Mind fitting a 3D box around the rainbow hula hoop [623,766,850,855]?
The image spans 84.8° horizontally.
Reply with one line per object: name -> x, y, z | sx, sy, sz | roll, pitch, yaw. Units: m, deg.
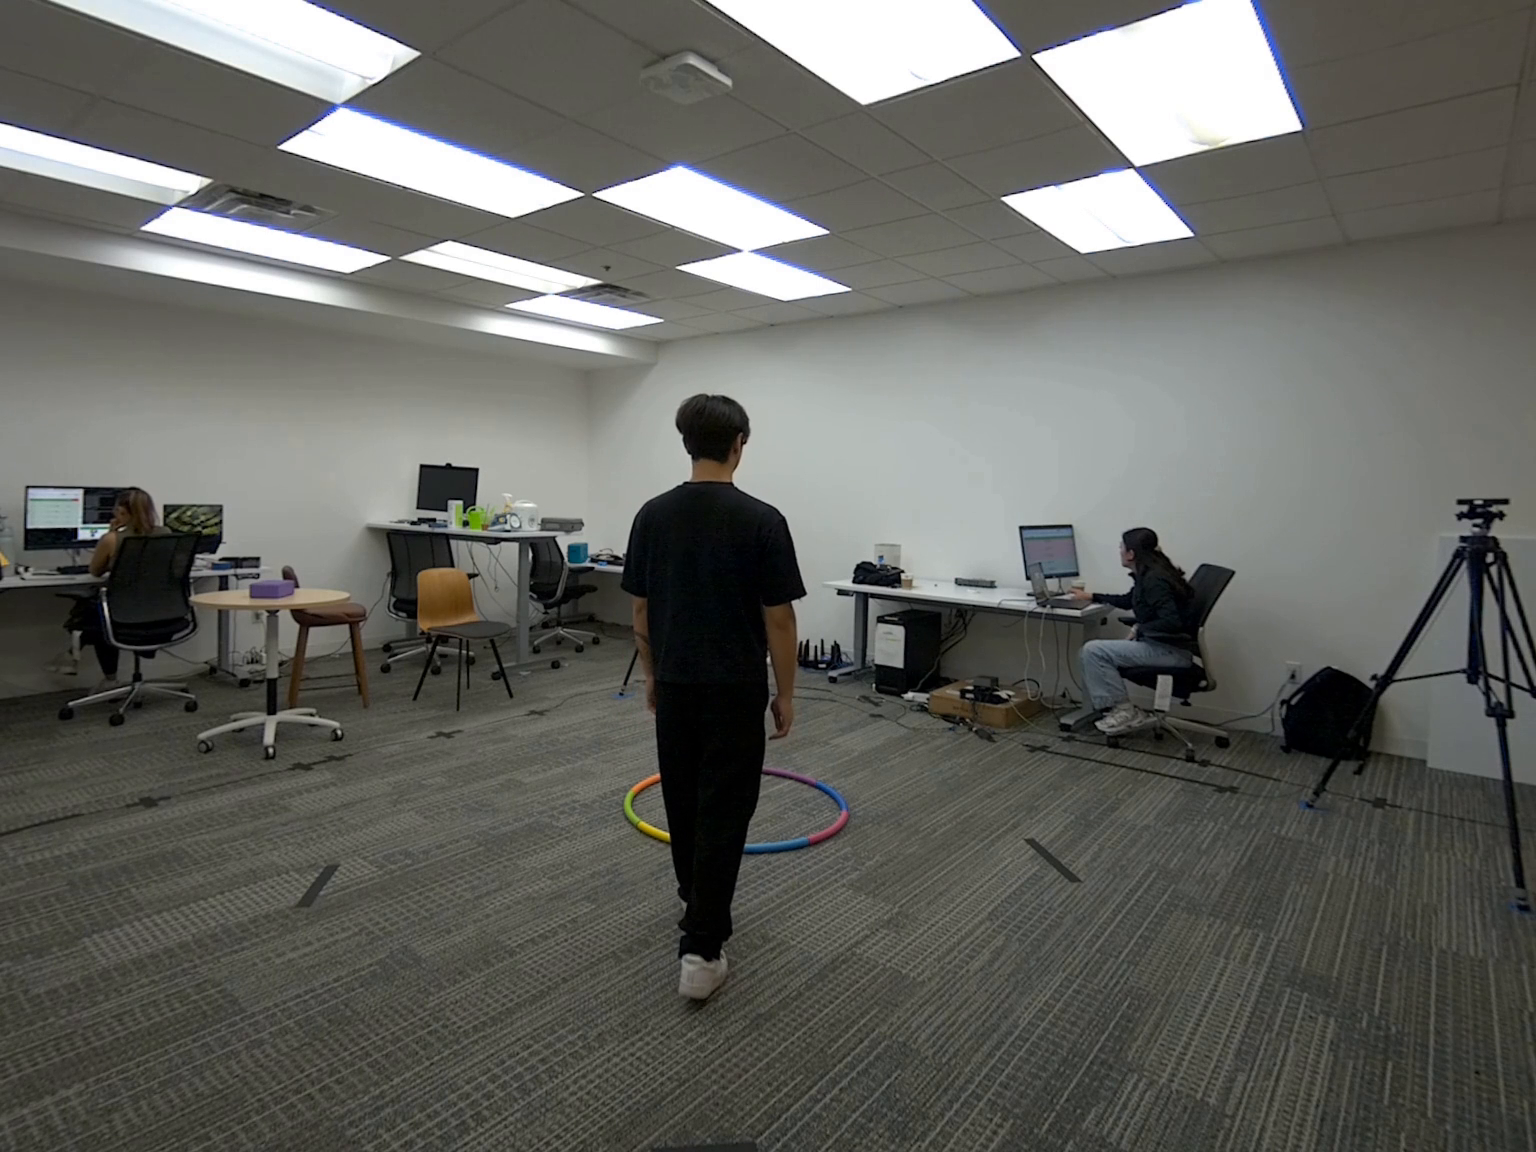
rainbow hula hoop -> -0.154, 0.981, 3.726 | 0.978, 0.035, 0.984 | 1, 5, -2
